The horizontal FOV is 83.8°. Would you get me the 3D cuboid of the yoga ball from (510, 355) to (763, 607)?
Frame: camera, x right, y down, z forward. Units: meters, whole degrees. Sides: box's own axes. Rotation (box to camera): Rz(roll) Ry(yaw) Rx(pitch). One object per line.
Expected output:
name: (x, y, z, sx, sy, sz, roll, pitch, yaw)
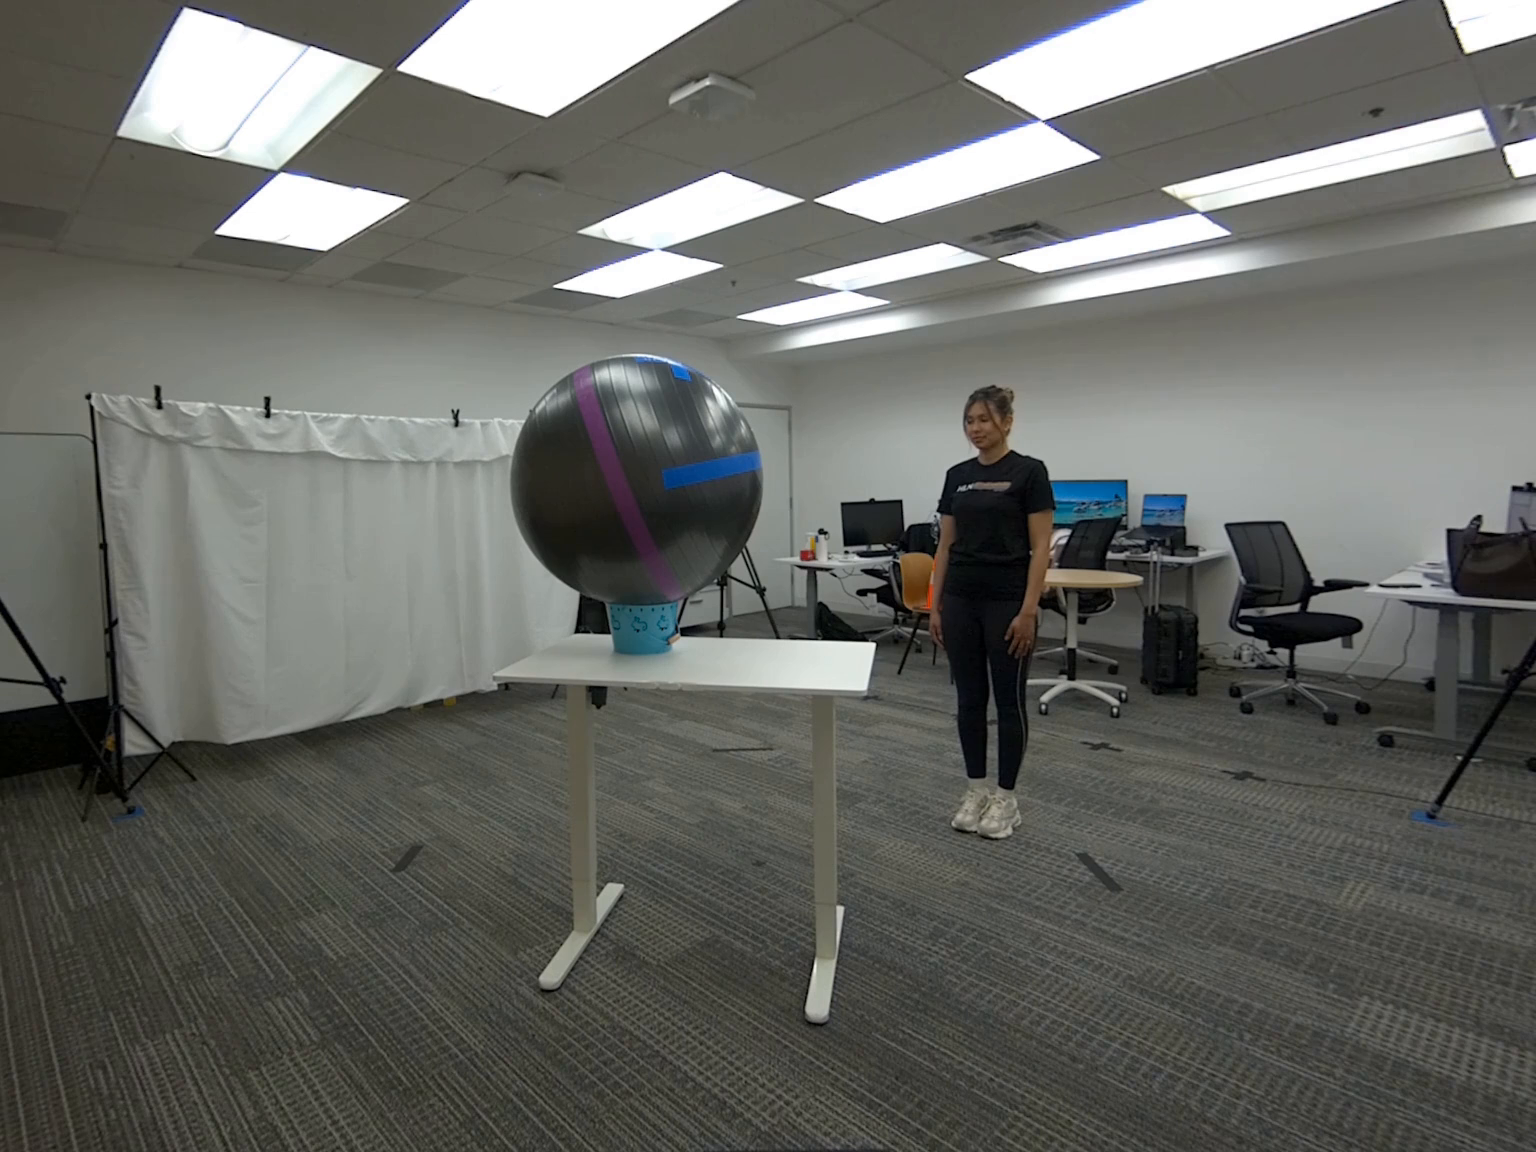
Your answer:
yoga ball: (-0.394, -0.281, 2.599, 0.757, 0.755, 0.762, -1, 5, -2)
